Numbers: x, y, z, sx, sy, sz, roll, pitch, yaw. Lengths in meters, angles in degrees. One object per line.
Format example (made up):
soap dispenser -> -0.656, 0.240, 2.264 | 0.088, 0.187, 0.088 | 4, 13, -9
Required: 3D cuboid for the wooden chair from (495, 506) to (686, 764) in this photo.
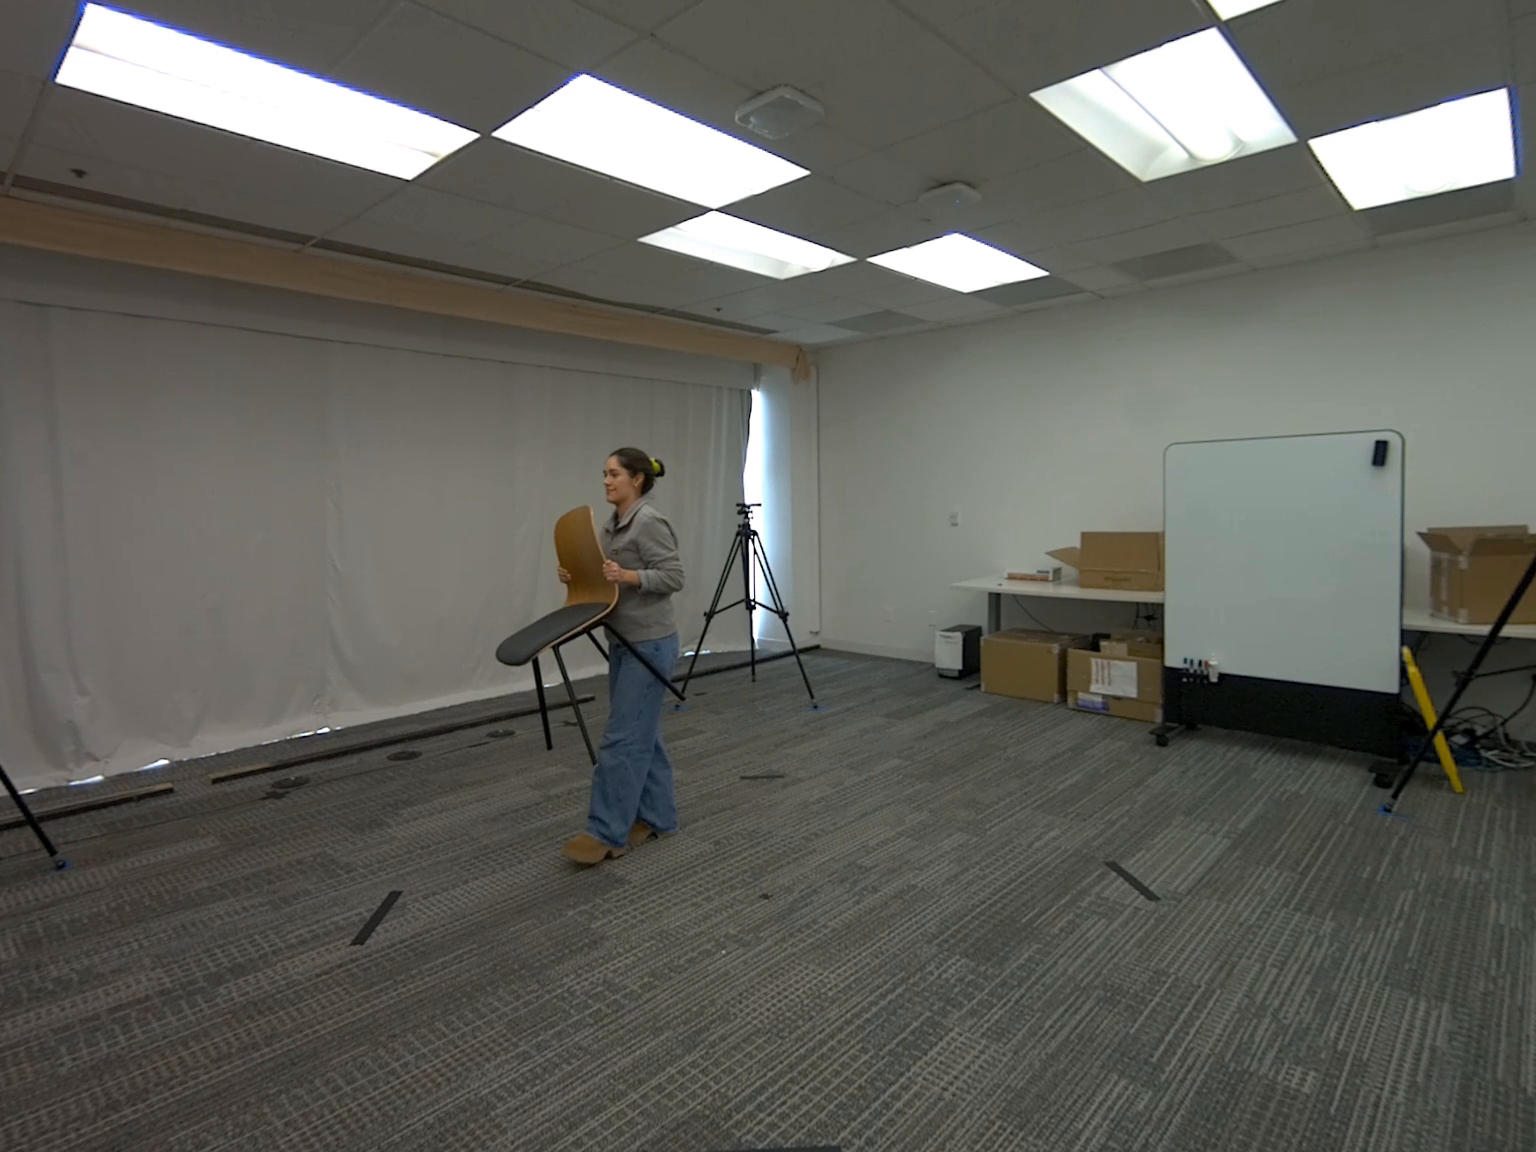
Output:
wooden chair -> -0.777, 0.230, 3.277 | 0.513, 0.869, 0.492 | -26, 12, -34
